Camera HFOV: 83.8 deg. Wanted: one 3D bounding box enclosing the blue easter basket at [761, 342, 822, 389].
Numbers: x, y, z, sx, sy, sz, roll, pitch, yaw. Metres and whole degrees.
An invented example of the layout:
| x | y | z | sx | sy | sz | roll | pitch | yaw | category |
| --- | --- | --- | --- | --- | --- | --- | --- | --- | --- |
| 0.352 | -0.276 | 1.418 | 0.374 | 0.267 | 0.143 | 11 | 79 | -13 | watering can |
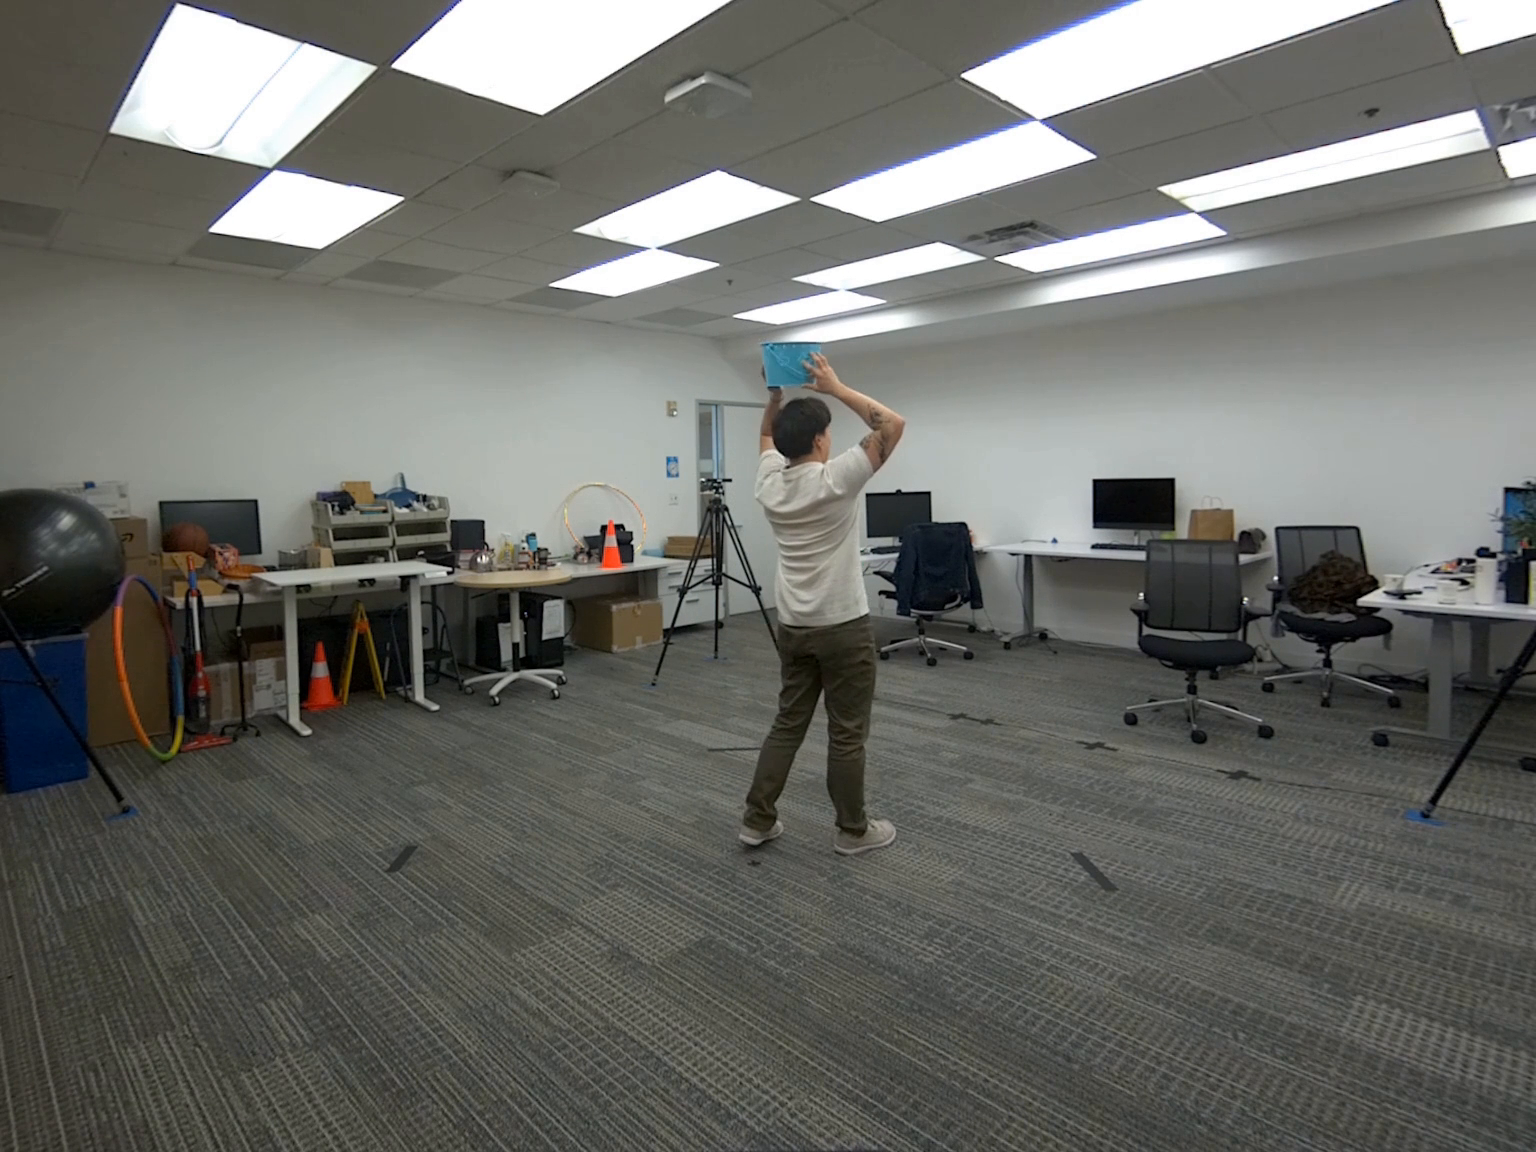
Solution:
| x | y | z | sx | sy | sz | roll | pitch | yaw | category |
| --- | --- | --- | --- | --- | --- | --- | --- | --- | --- |
| 0.098 | -0.781 | 3.119 | 0.243 | 0.154 | 0.246 | -4 | 13 | -1 | blue easter basket |
